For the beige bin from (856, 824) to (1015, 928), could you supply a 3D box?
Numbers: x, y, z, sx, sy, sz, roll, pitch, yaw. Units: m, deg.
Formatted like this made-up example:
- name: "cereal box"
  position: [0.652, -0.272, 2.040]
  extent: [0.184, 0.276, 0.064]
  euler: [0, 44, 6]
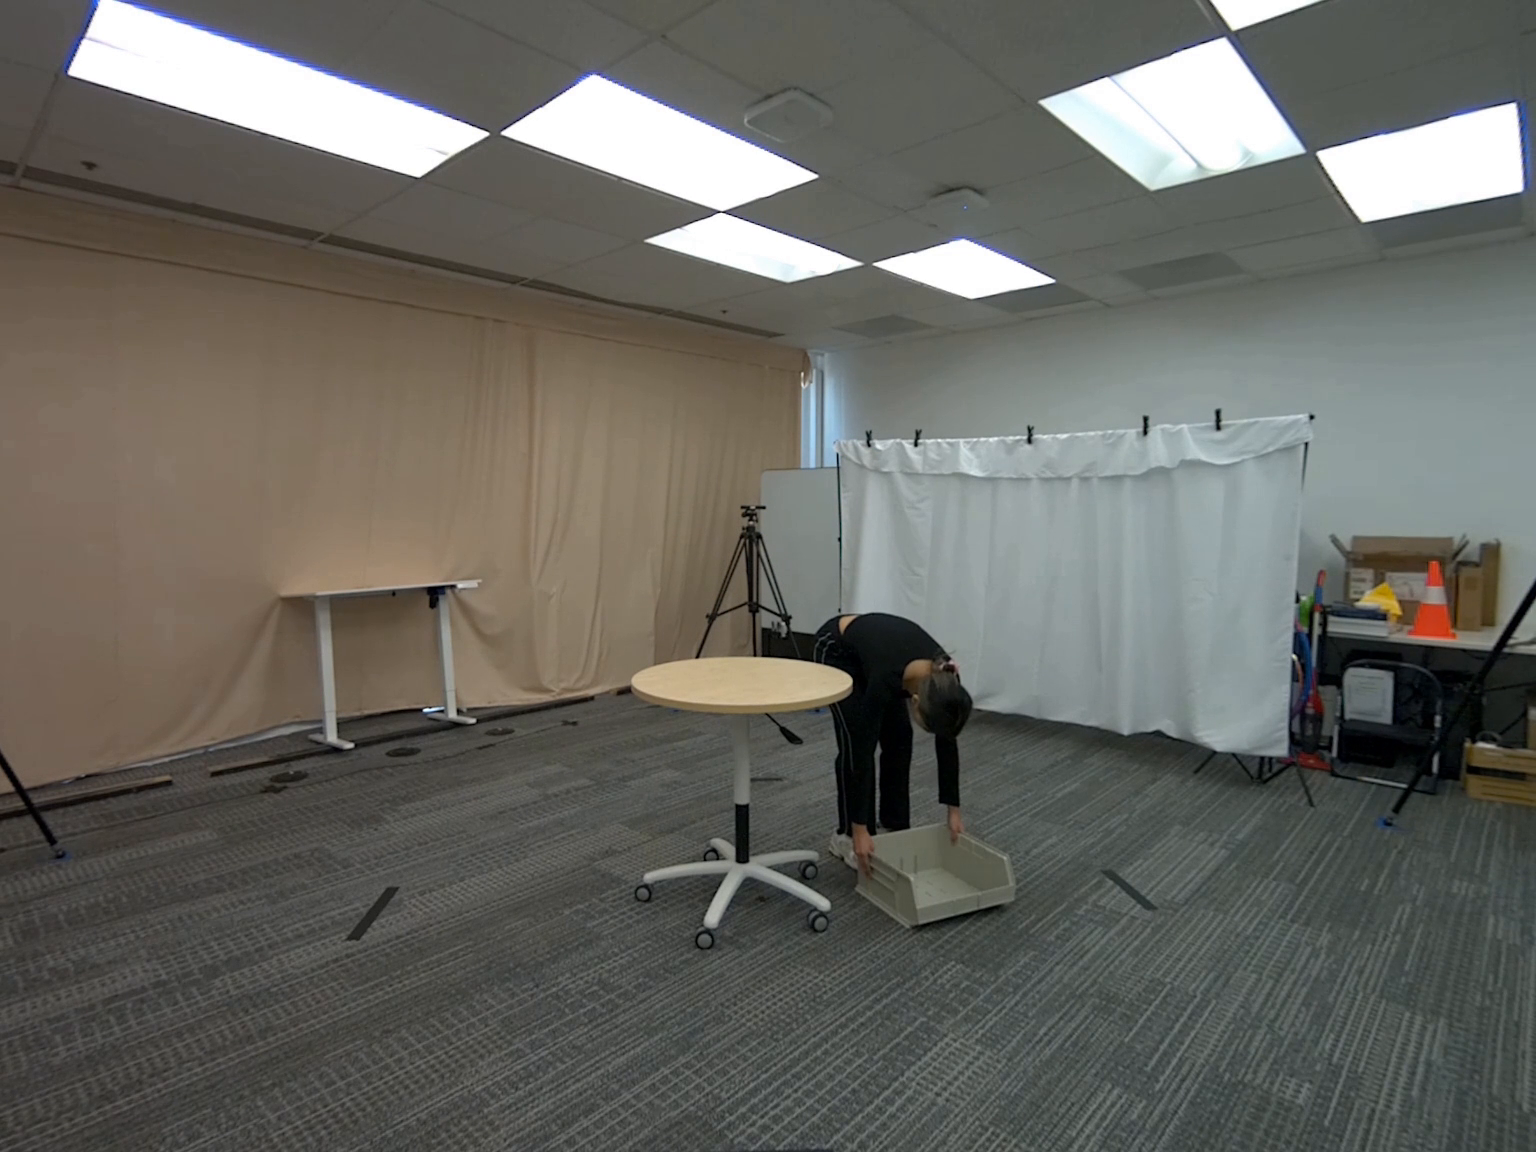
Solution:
- name: "beige bin"
  position: [0.578, 1.044, 2.972]
  extent: [0.412, 0.188, 0.388]
  euler: [-5, 5, -27]
